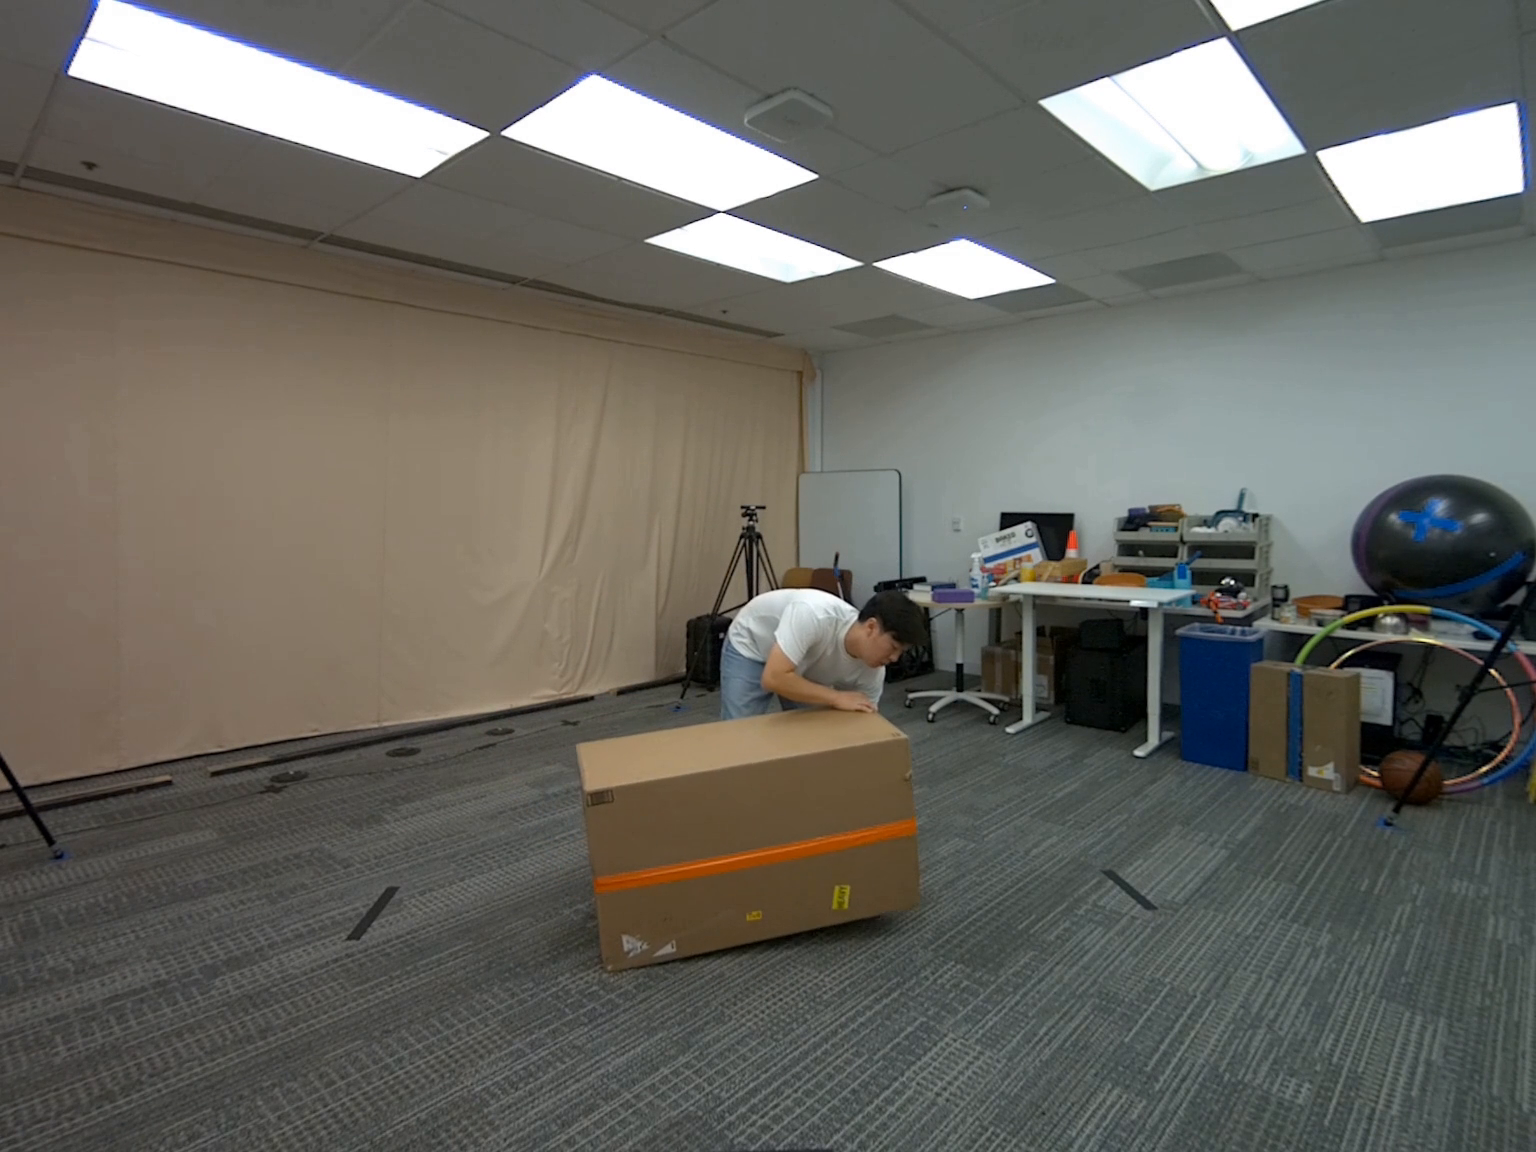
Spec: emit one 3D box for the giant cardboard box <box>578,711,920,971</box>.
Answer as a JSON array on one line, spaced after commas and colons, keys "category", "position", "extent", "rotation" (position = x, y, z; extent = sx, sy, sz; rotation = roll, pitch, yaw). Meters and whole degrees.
[{"category": "giant cardboard box", "position": [-0.078, 0.816, 2.767], "extent": [1.014, 0.574, 0.433], "rotation": [-7, 8, -12]}]
